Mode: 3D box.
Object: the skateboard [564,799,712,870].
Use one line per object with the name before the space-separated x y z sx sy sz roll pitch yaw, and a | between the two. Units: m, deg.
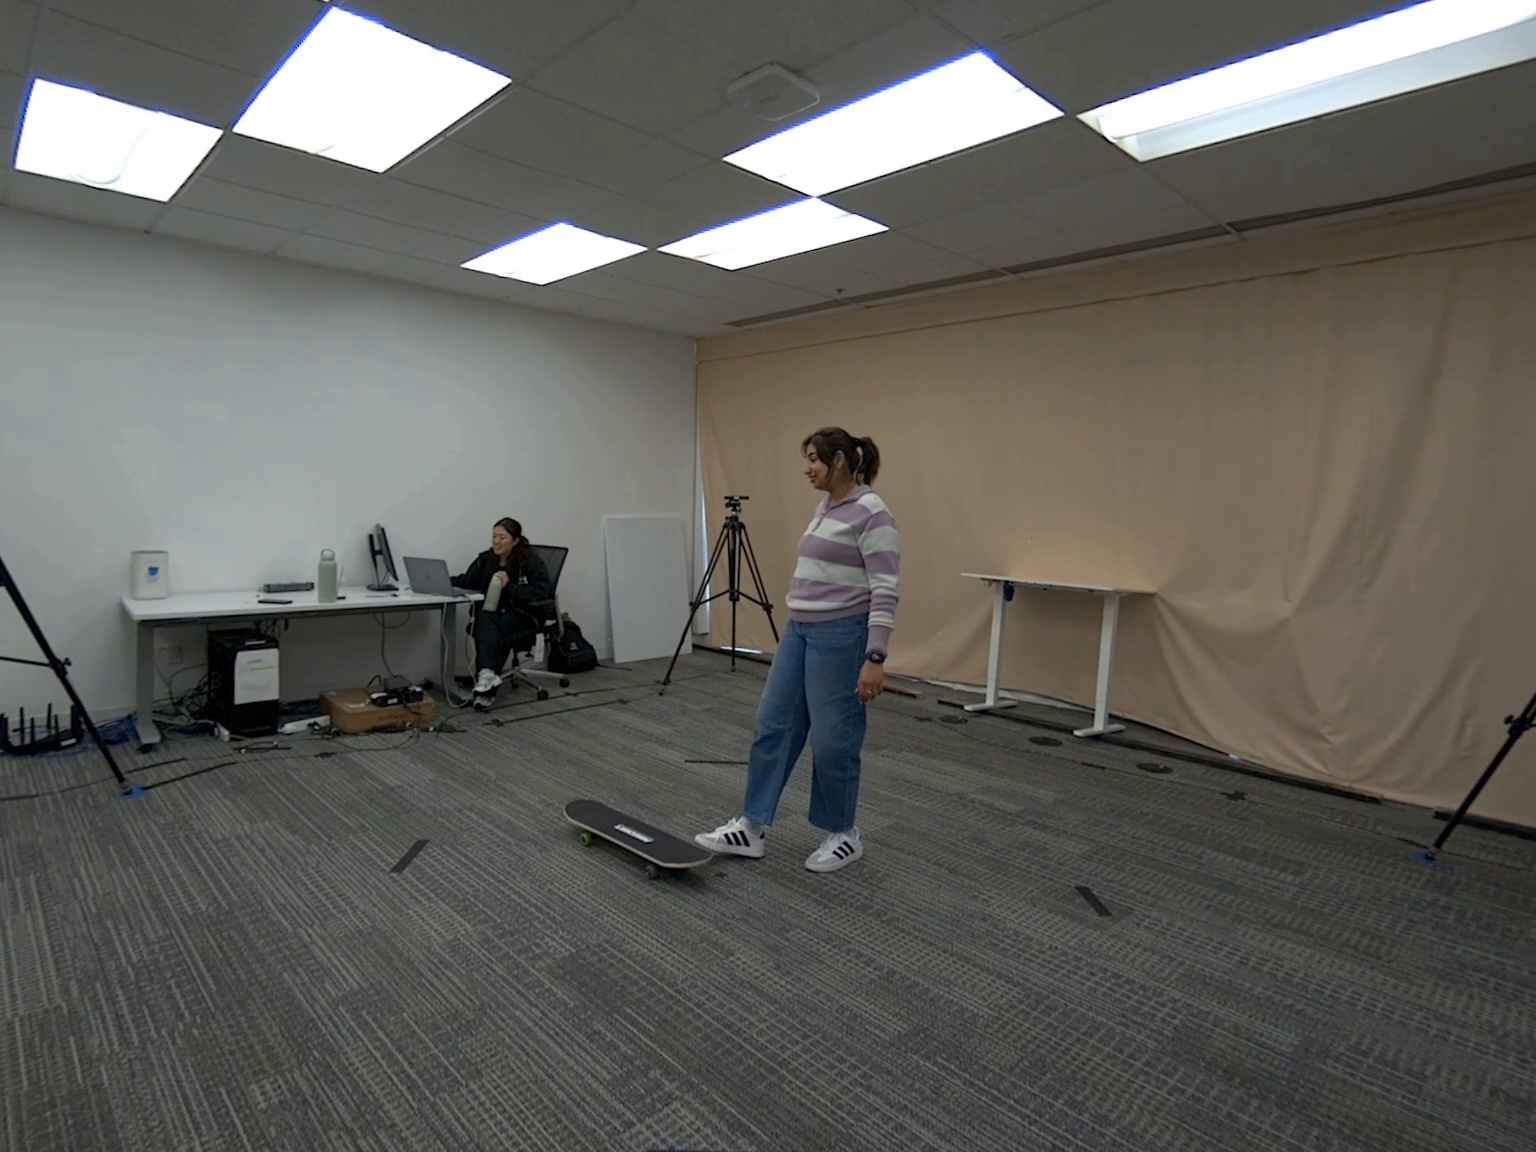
skateboard | -0.520 1.023 3.254 0.806 0.110 0.189 6 6 43
